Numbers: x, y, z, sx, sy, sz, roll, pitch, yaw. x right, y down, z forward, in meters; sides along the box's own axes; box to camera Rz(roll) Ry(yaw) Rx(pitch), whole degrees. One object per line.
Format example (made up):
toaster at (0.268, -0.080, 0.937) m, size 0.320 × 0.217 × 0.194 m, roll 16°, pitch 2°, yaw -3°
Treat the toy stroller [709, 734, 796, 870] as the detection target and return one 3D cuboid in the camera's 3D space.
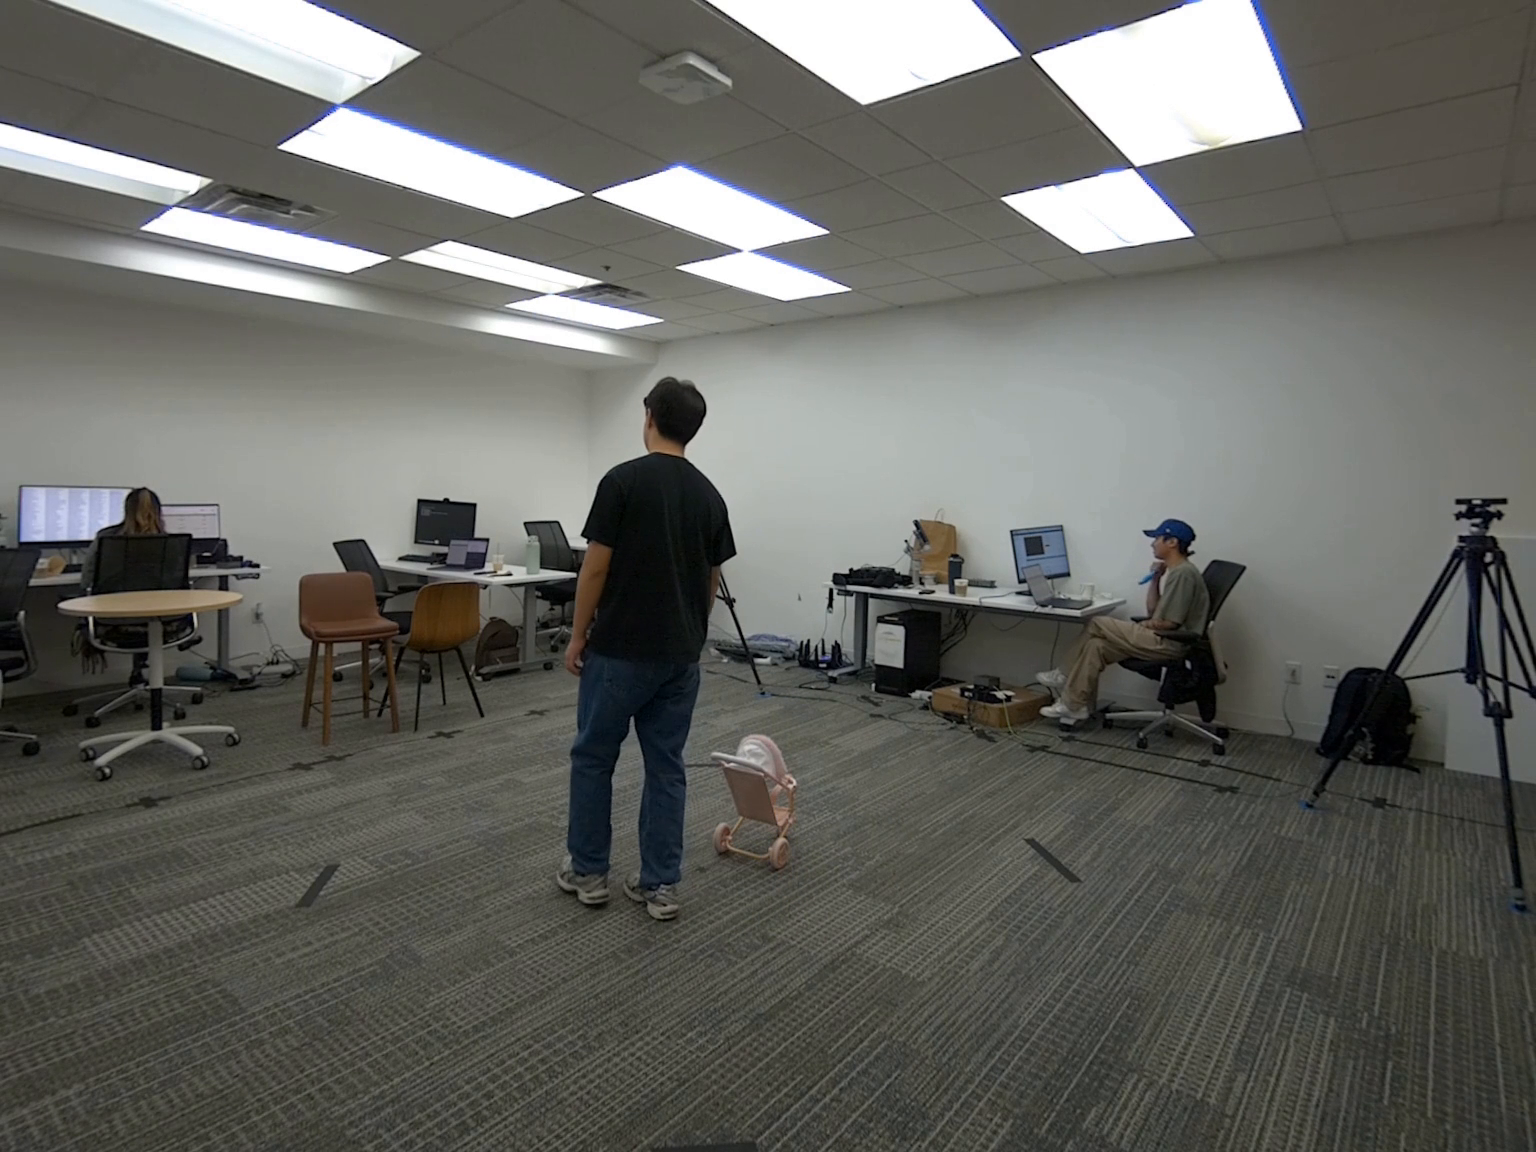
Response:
toy stroller at (-0.038, 0.834, 3.242) m, size 0.290 × 0.526 × 0.336 m, roll 4°, pitch 20°, yaw 34°
